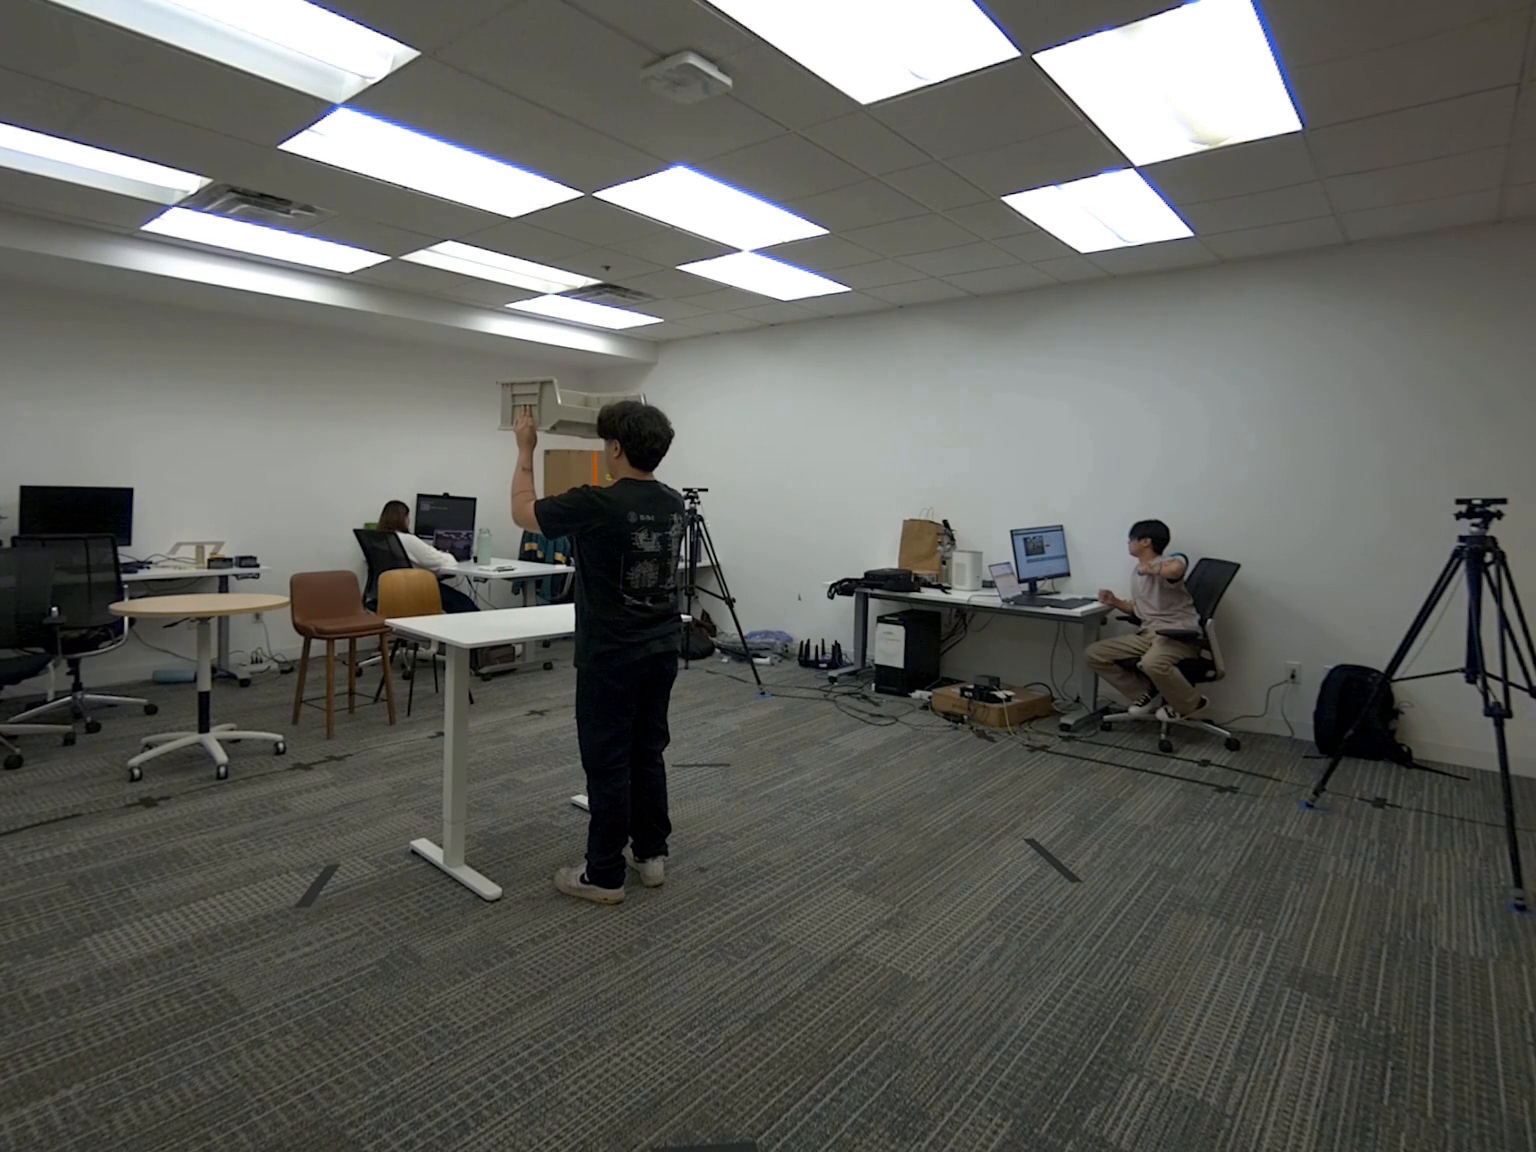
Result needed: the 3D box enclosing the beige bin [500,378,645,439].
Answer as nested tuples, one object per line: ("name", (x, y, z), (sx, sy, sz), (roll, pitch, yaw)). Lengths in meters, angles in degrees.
("beige bin", (-0.729, -0.606, 3.116), (0.391, 0.188, 0.409), (8, 8, 41))
